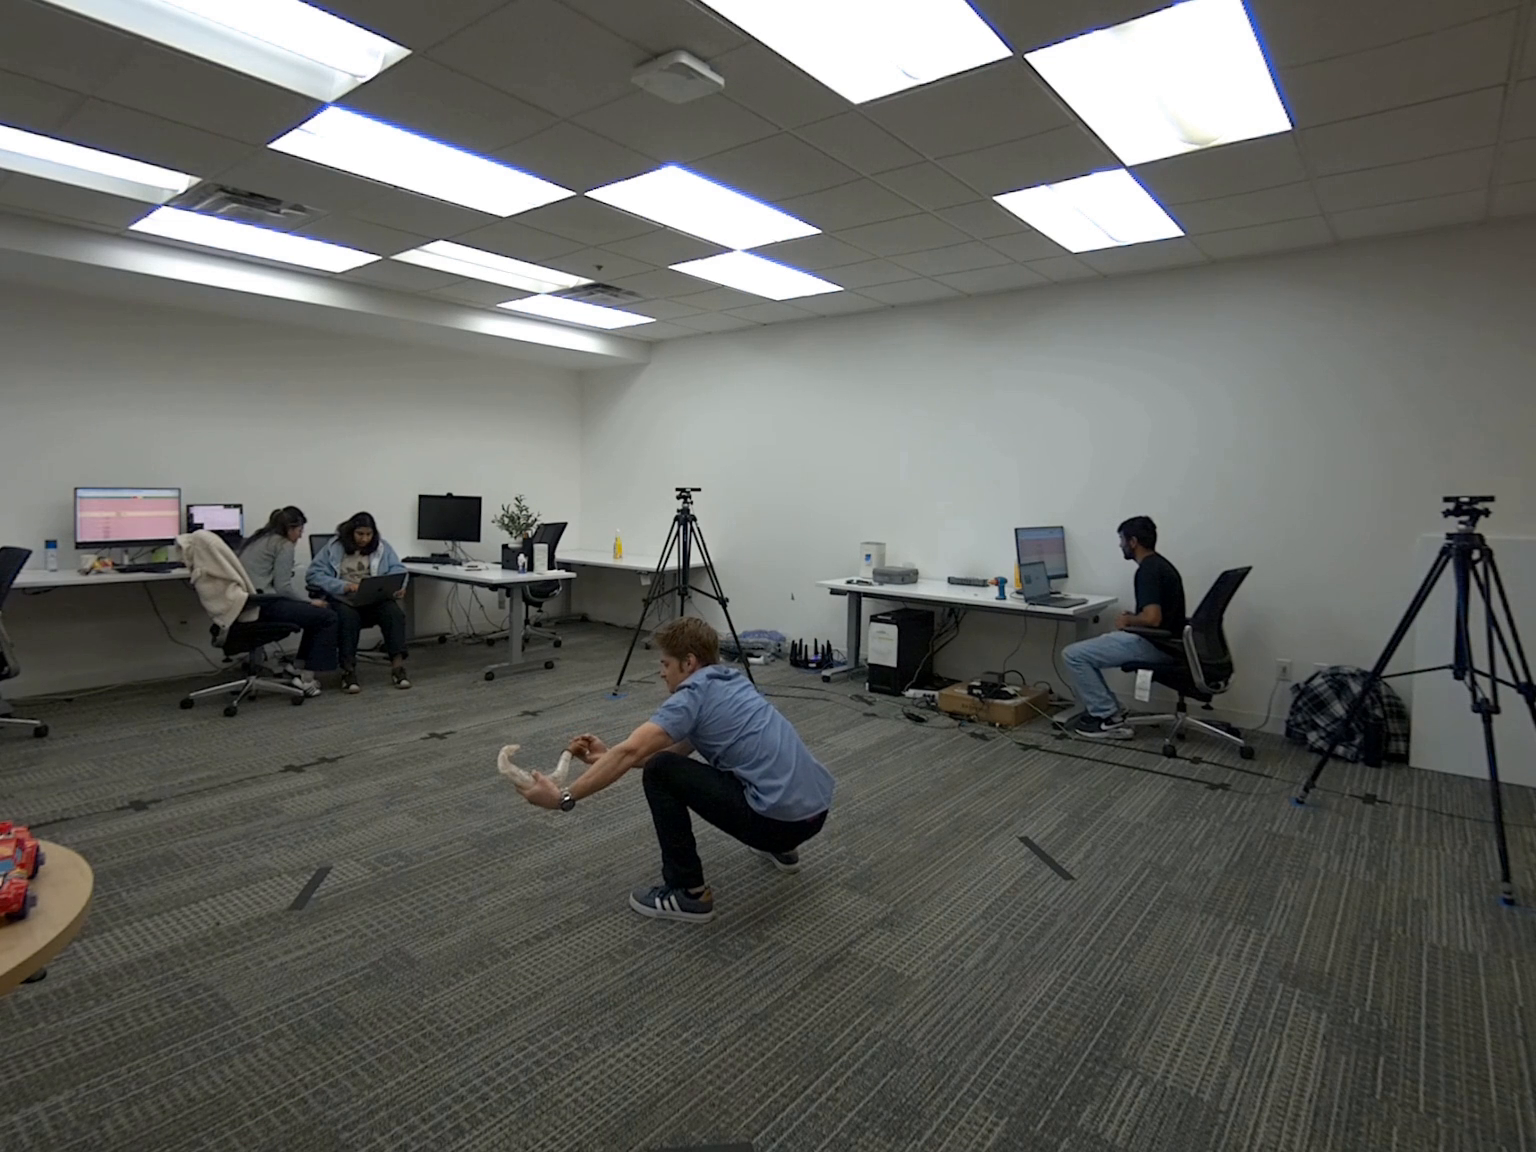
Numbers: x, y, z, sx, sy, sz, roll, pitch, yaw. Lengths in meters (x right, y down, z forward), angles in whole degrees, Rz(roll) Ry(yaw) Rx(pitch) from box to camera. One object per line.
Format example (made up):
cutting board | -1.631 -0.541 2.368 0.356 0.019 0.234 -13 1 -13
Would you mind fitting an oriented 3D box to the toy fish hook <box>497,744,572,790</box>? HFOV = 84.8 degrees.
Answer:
toy fish hook | -0.716 0.576 2.770 0.226 0.048 0.503 29 7 4
